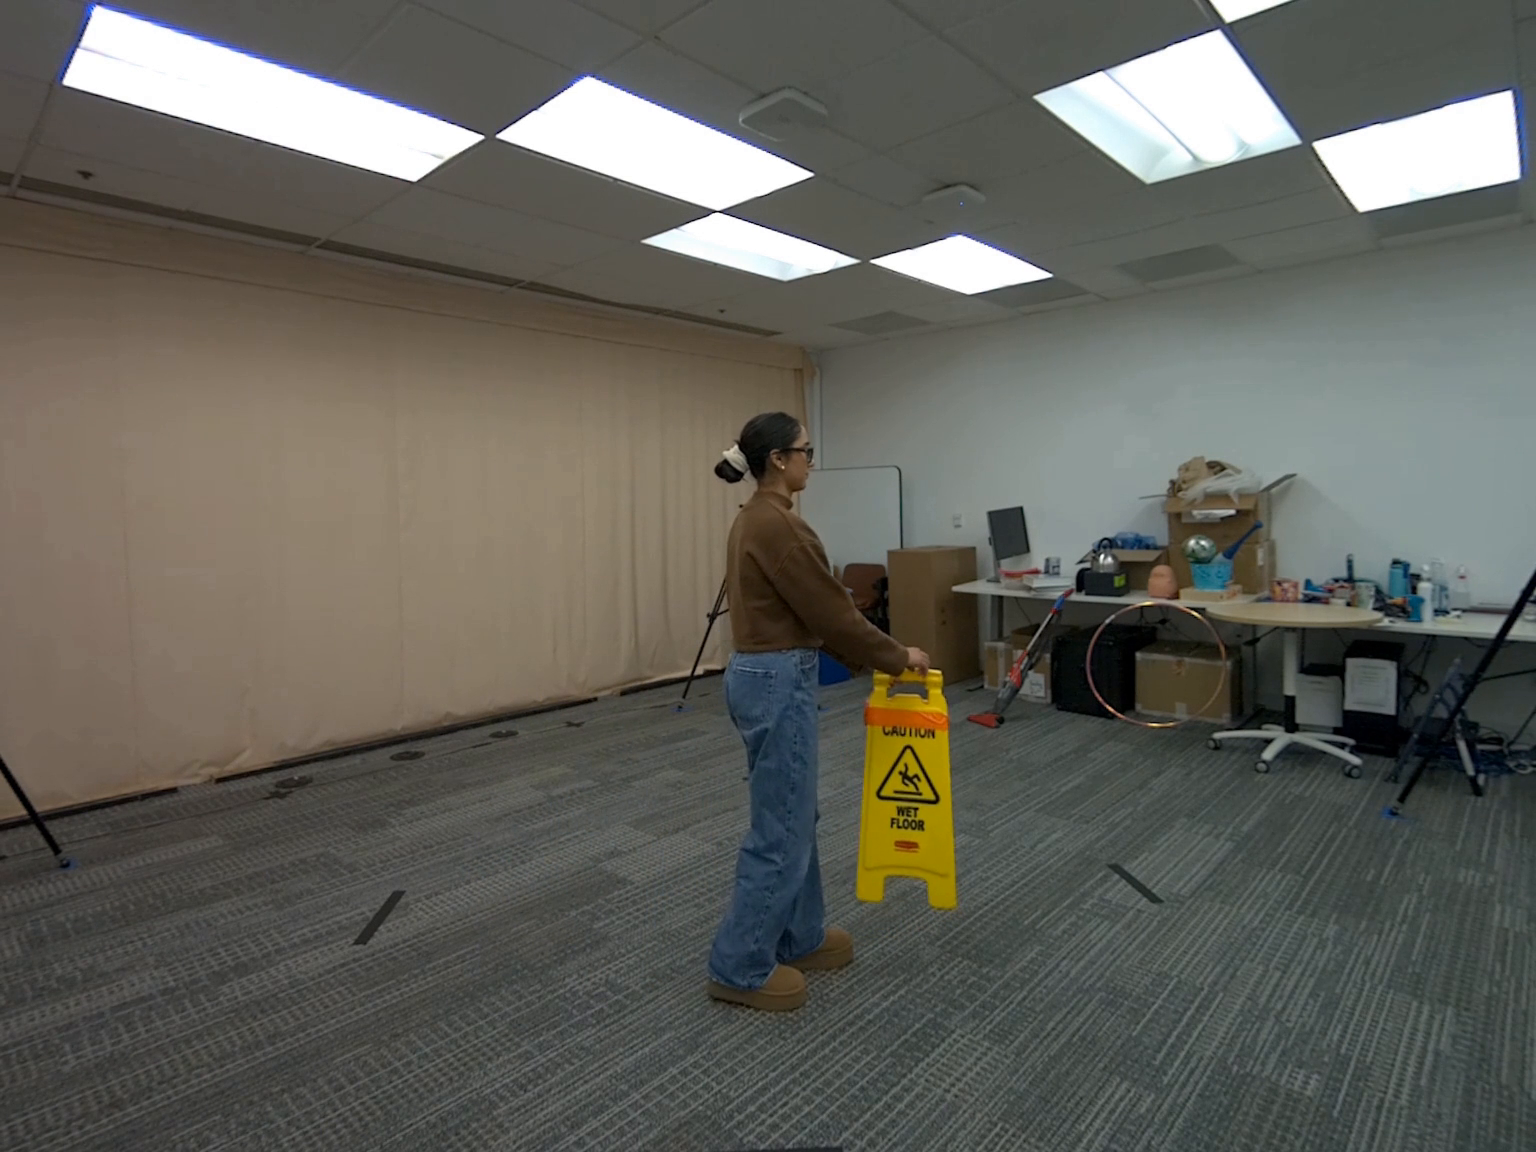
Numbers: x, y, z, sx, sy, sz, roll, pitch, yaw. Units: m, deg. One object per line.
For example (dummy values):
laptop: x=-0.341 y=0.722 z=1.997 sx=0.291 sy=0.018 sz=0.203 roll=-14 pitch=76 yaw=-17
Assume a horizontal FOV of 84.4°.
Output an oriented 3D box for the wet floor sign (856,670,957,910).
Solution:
wet floor sign: x=0.415 y=0.603 z=2.490 sx=0.285 sy=0.645 sz=0.287 roll=0 pitch=3 yaw=10
